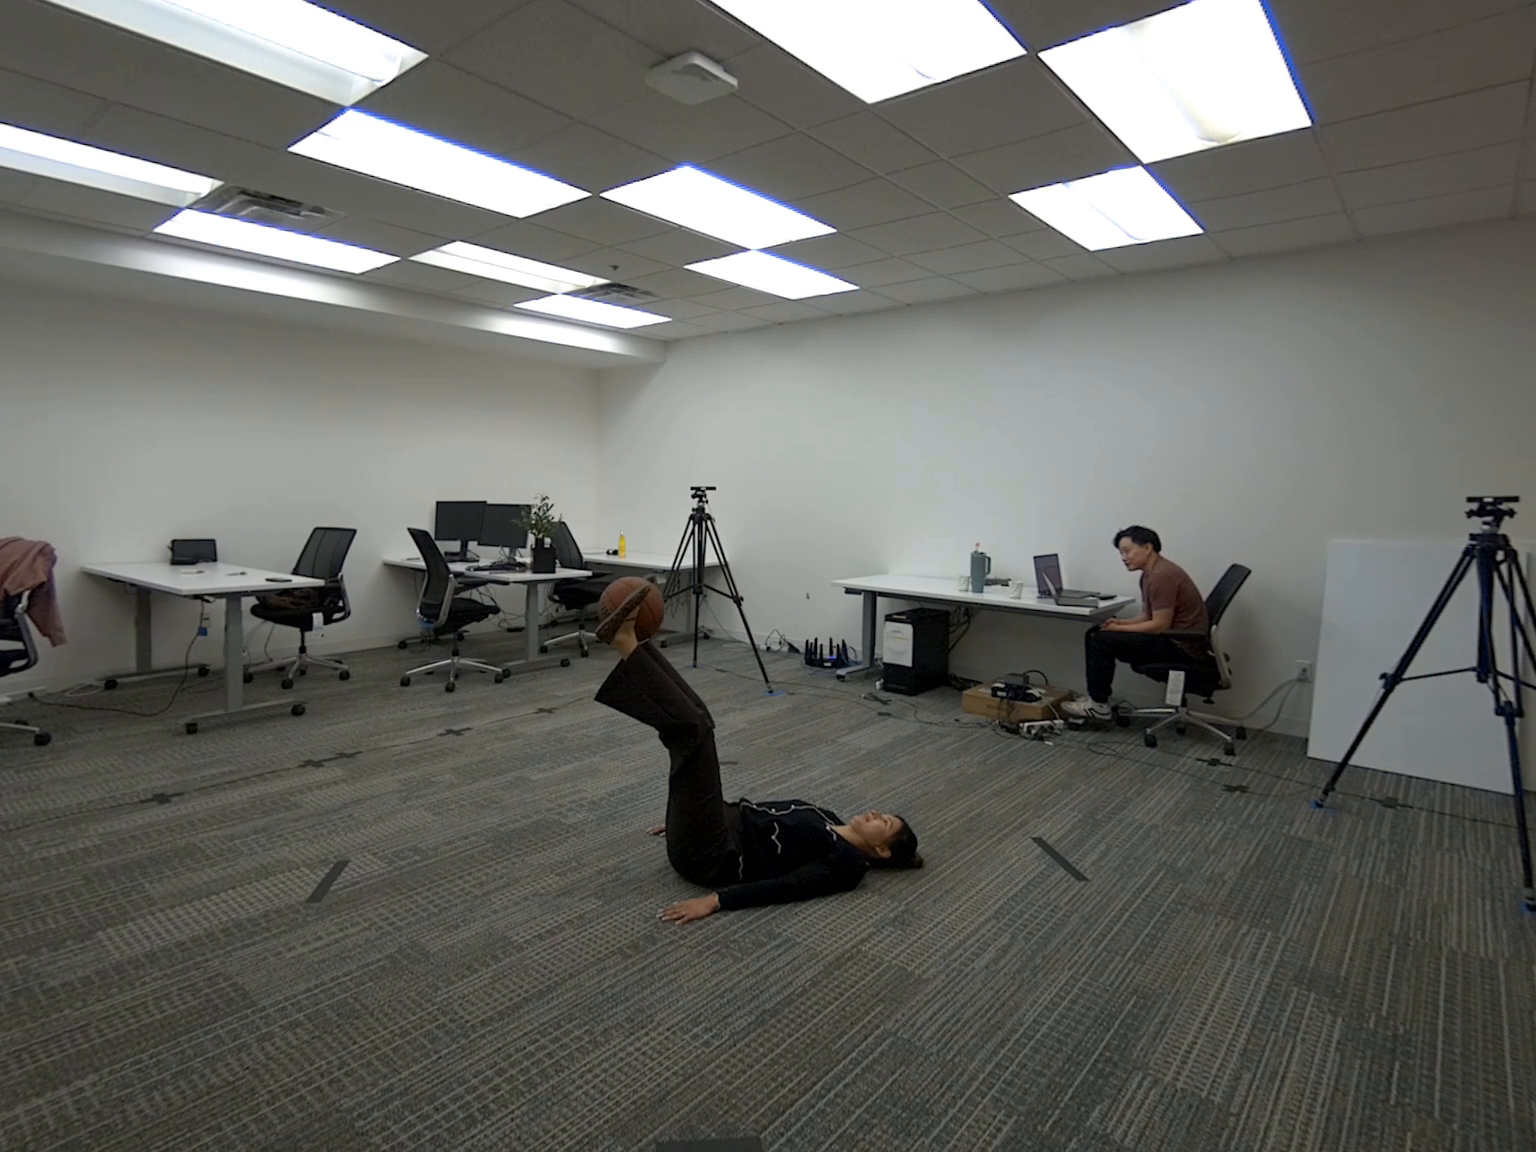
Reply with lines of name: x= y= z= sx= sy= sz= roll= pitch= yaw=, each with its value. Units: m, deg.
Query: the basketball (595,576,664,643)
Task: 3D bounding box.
basketball: x=-0.497 y=0.116 z=3.028 sx=0.236 sy=0.234 sz=0.238 roll=0 pitch=7 yaw=-2
